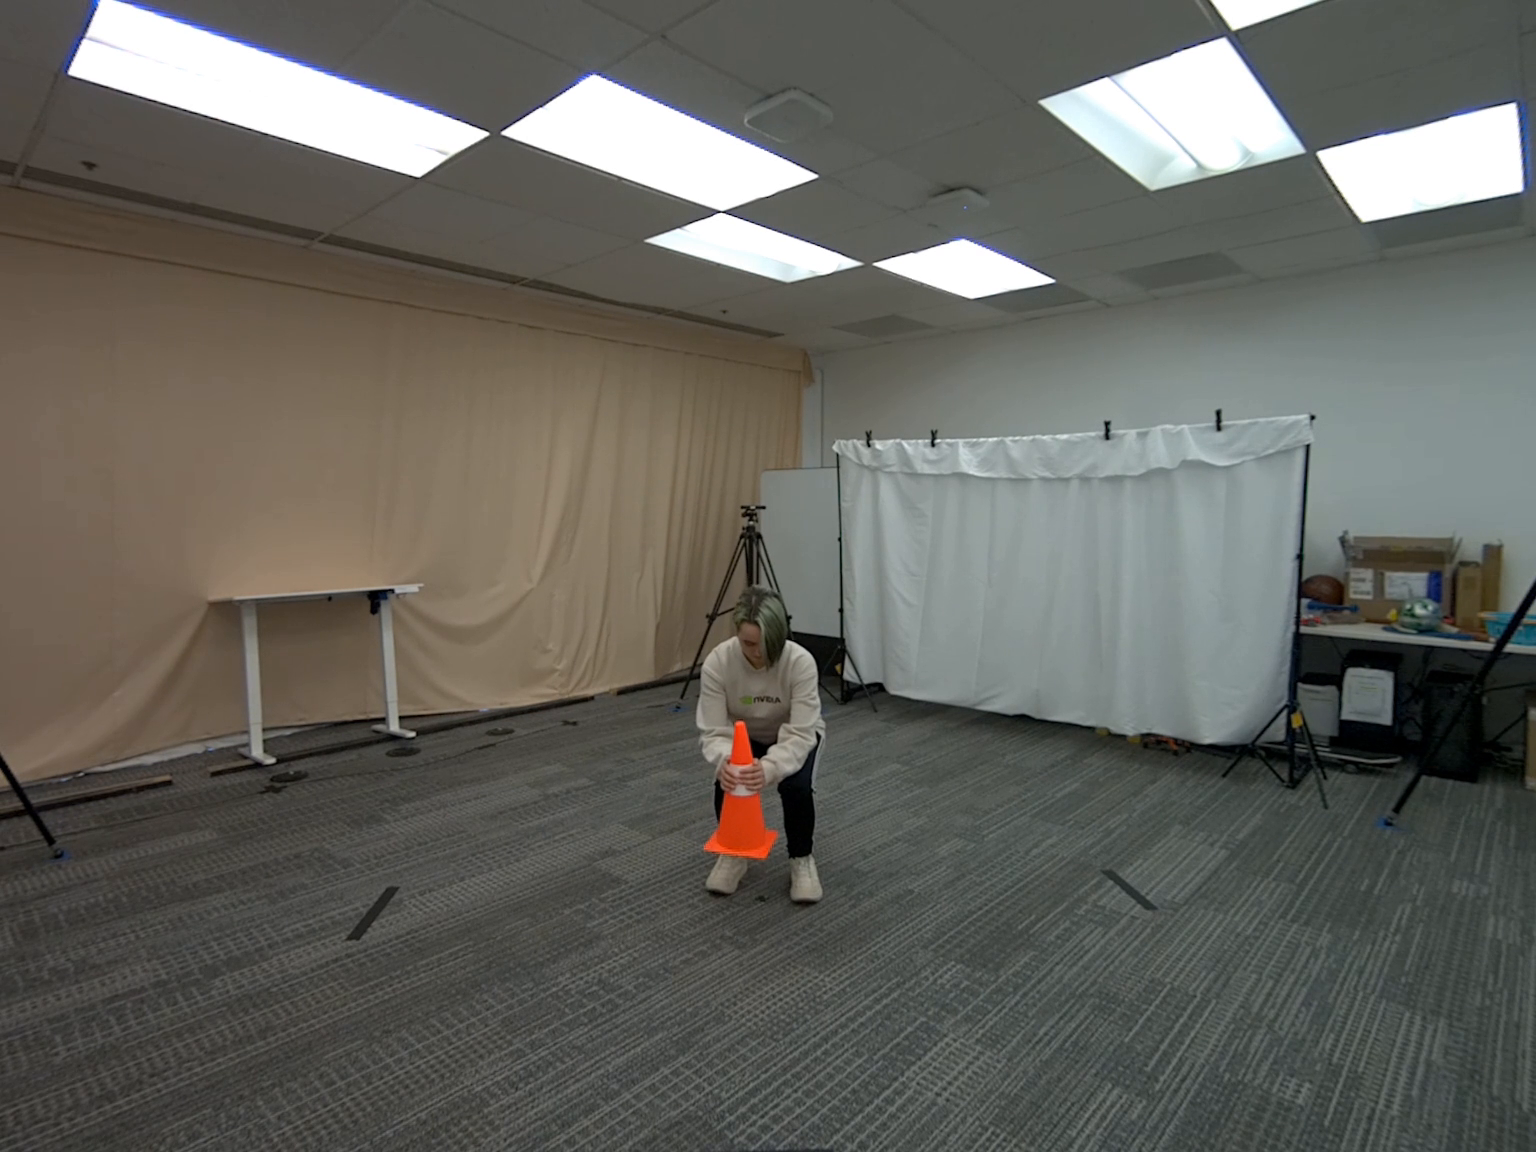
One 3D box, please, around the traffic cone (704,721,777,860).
[{"bbox_3d":[-0.080,0.639,2.629,0.209,0.382,0.200,1,6,17],"label":"traffic cone"}]
